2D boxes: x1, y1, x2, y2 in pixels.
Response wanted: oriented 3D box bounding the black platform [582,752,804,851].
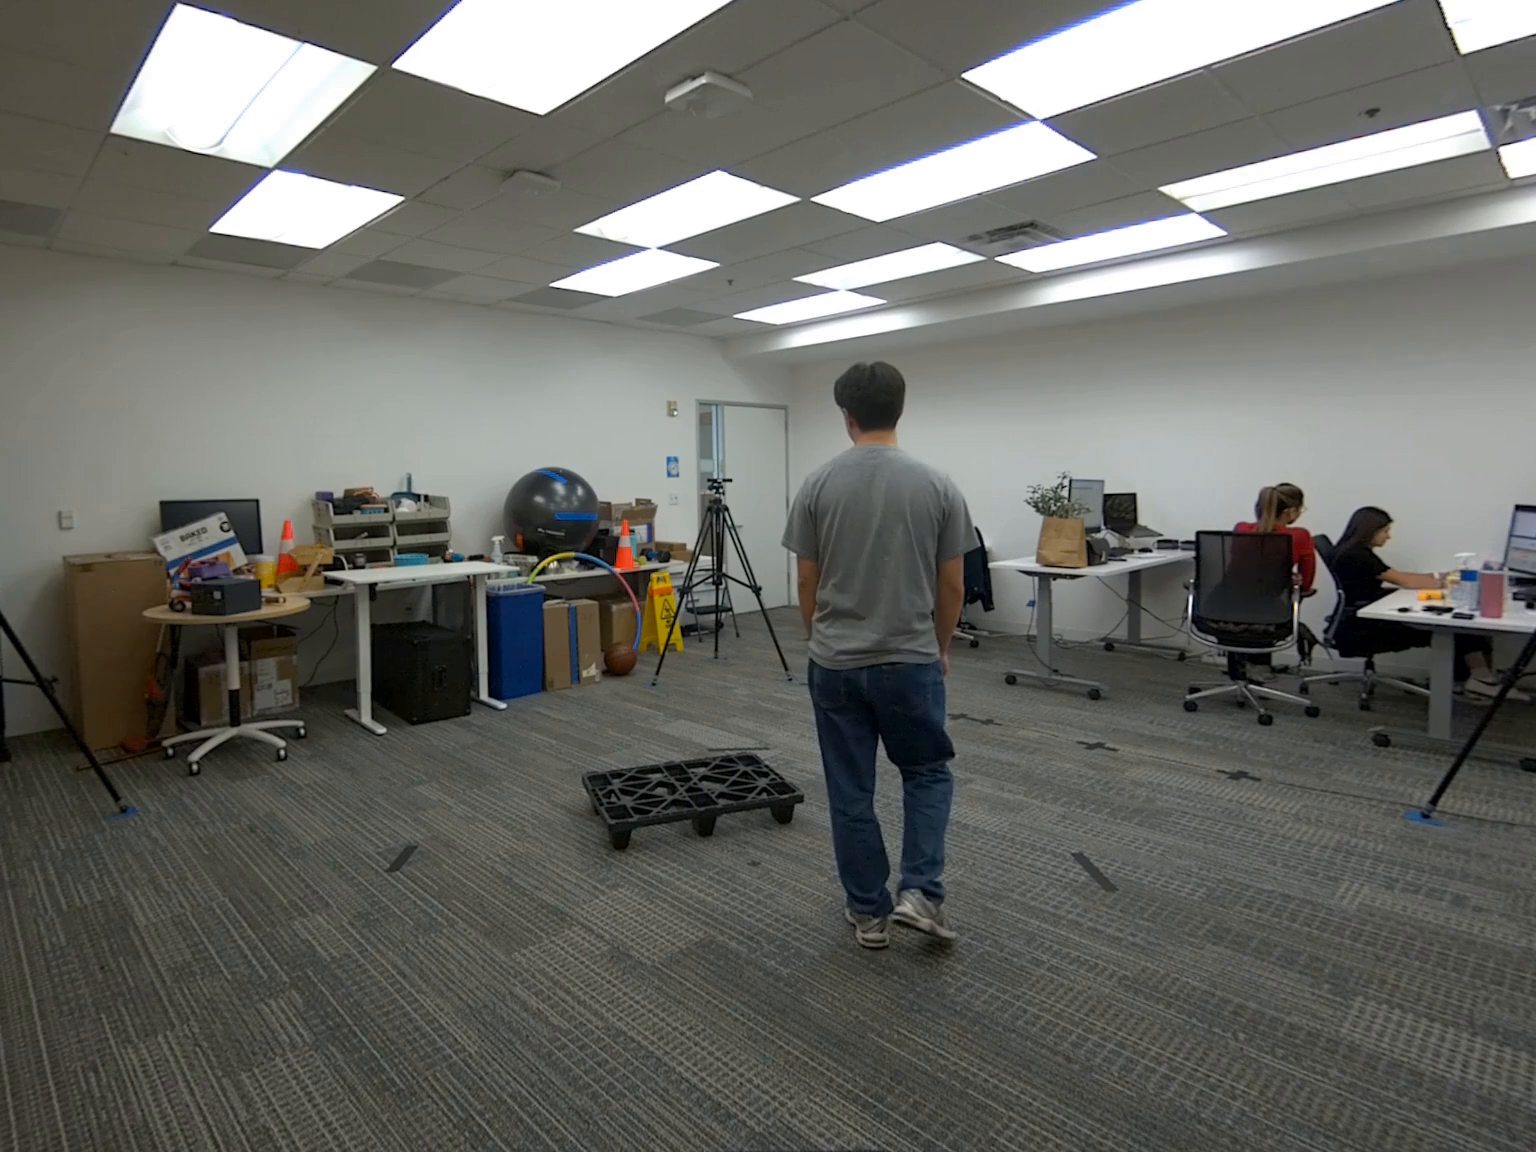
[{"bbox_3d":[-0.323,0.931,3.564,0.792,0.142,0.618,-4,7,-20],"label":"black platform"}]
